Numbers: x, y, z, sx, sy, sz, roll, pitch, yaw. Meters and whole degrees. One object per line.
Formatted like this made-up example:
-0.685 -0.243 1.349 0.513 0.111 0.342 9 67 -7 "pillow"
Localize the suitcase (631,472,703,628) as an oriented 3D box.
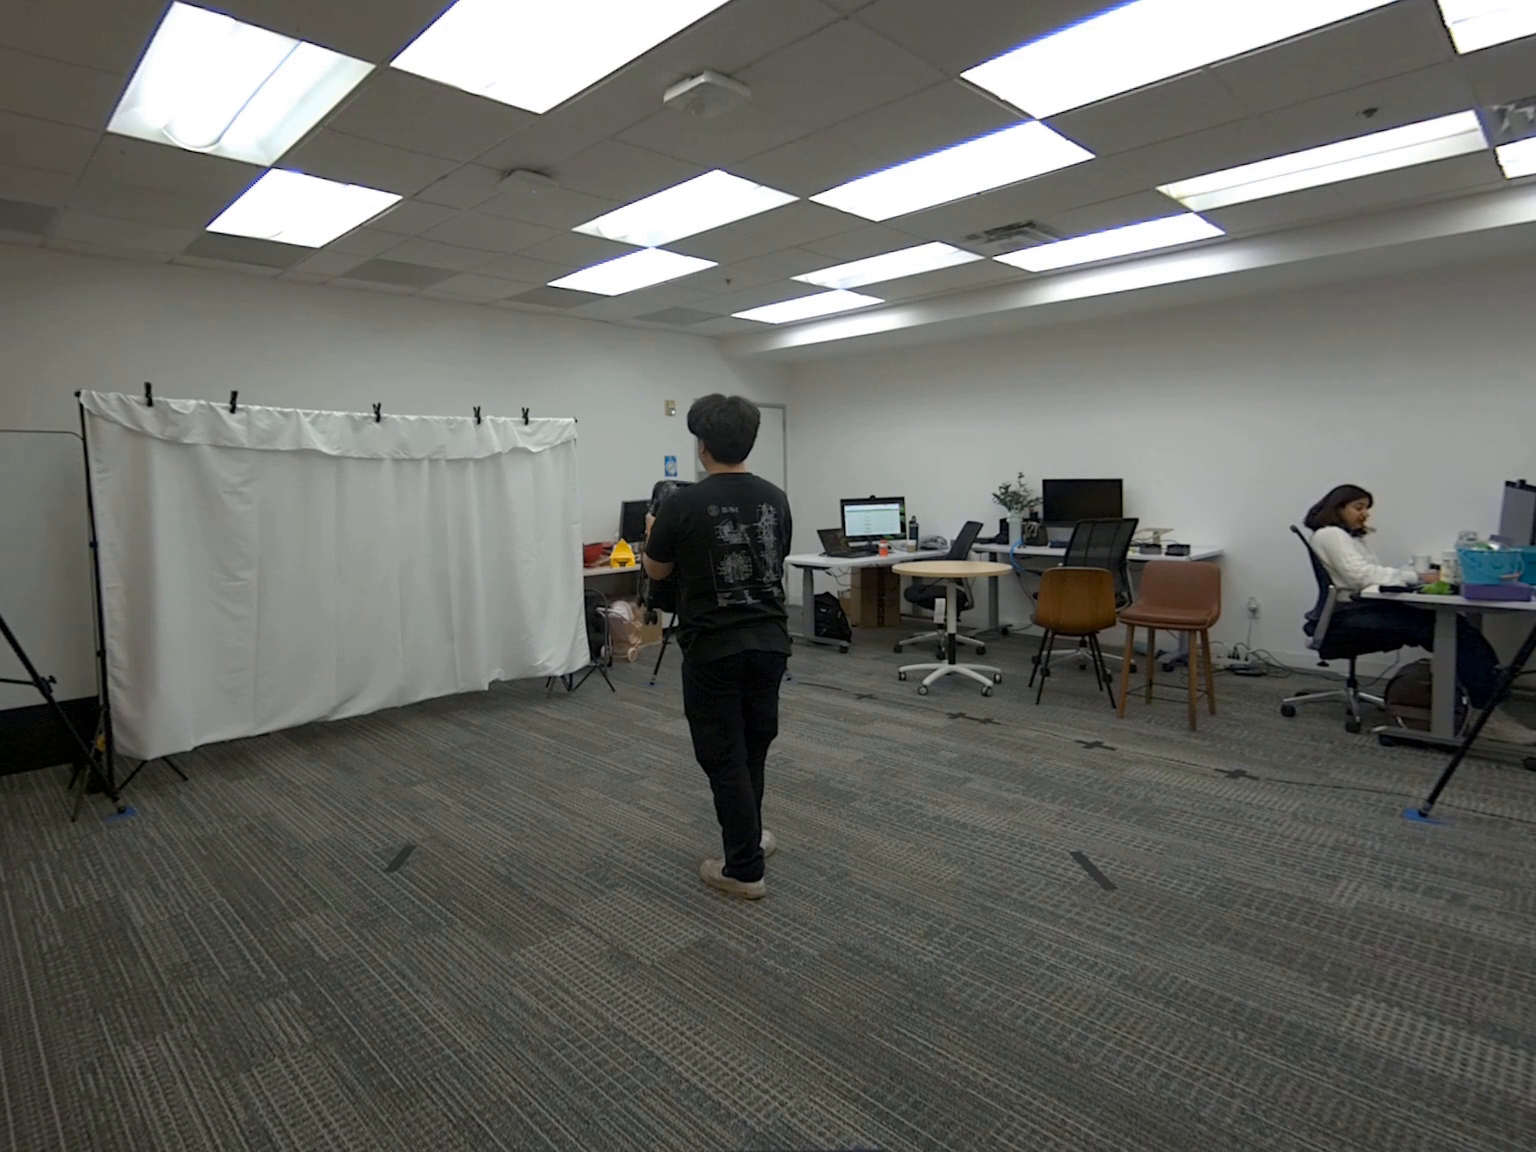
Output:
-0.306 -0.098 3.369 0.370 0.544 0.254 6 13 -15 "suitcase"
